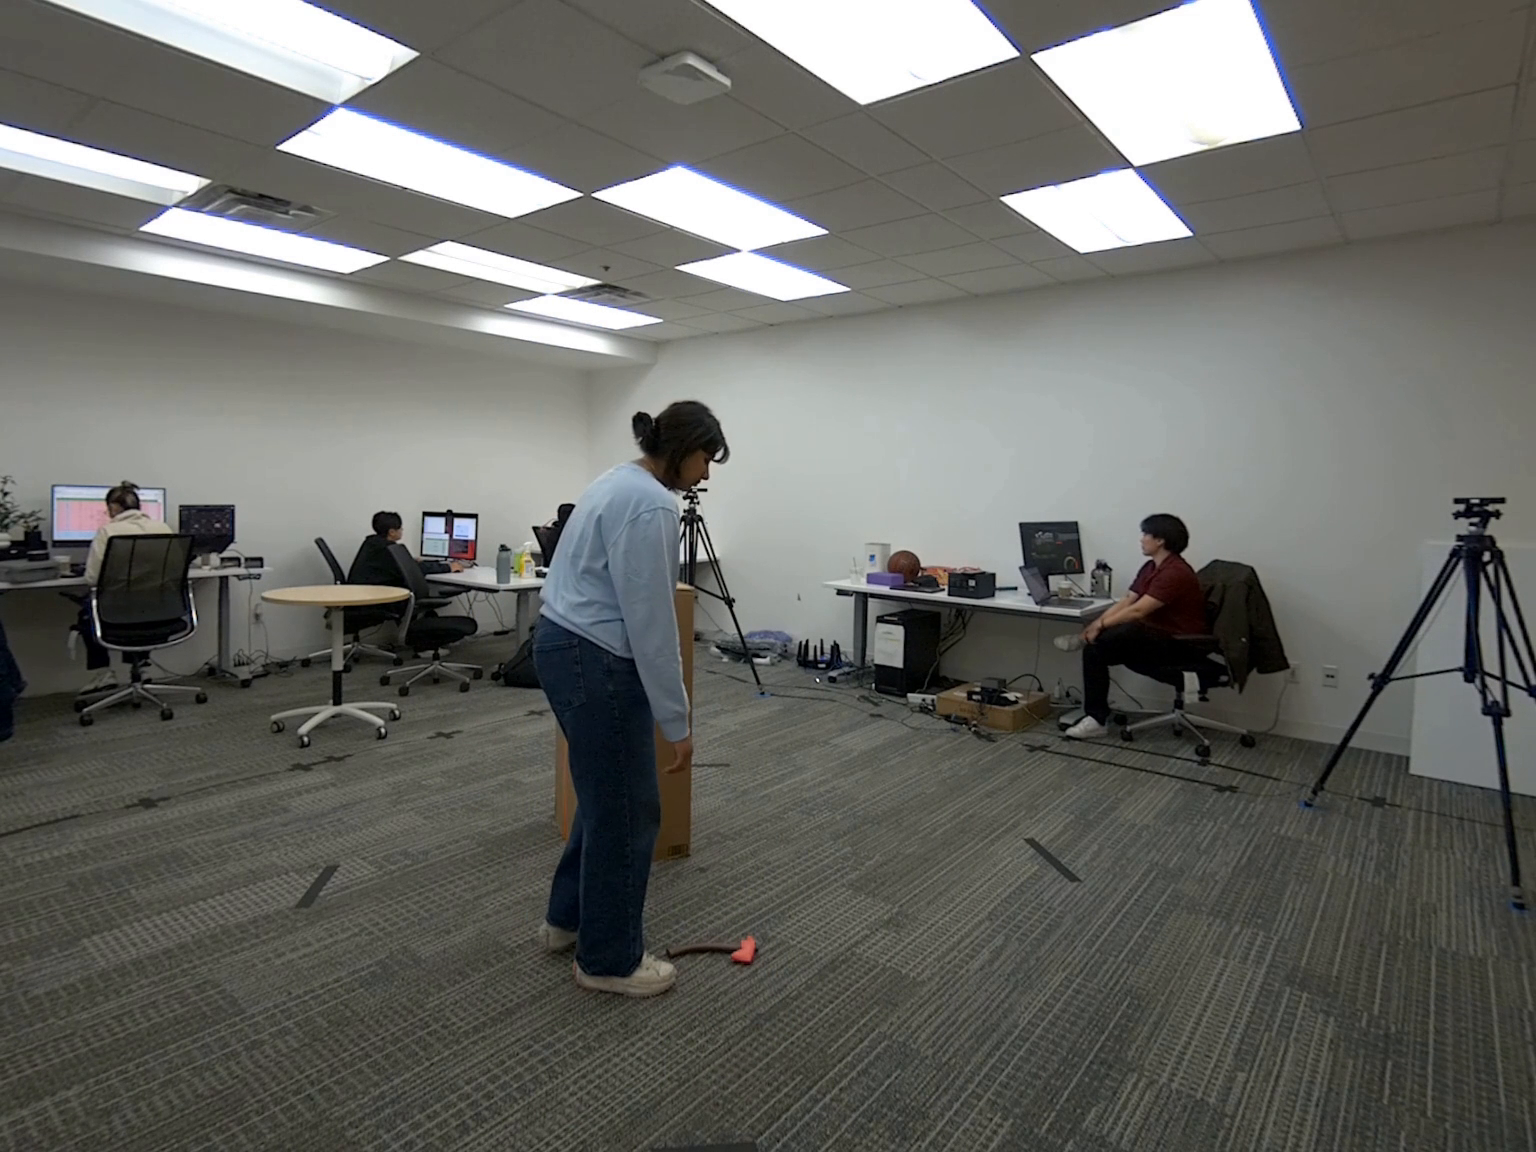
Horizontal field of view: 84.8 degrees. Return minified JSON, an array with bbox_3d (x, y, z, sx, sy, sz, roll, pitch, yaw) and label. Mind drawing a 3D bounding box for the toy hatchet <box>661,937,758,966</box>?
[{"bbox_3d":[-0.163,1.122,2.509,0.266,0.029,0.134,-3,9,-16],"label":"toy hatchet"}]
